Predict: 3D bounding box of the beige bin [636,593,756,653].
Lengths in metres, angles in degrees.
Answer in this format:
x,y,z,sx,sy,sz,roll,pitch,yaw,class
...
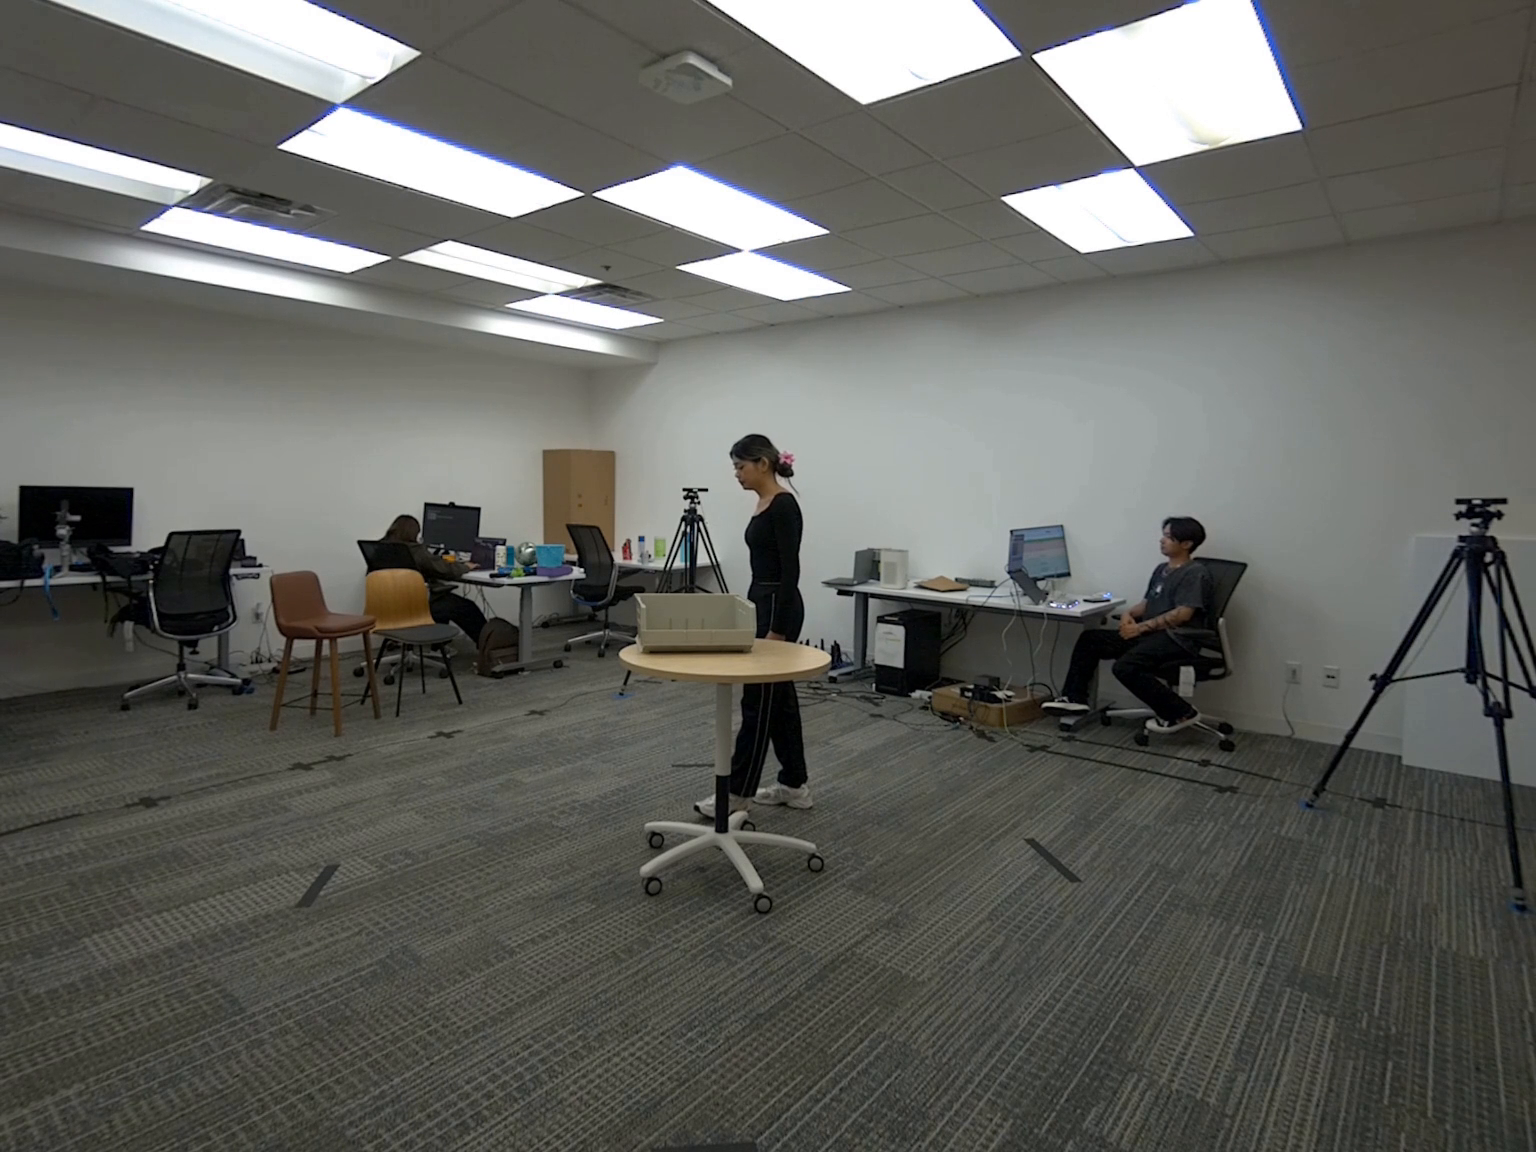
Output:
x,y,z,sx,sy,sz,roll,pitch,yaw,class
-0.294,0.175,3.230,0.418,0.188,0.382,0,4,-10,beige bin
